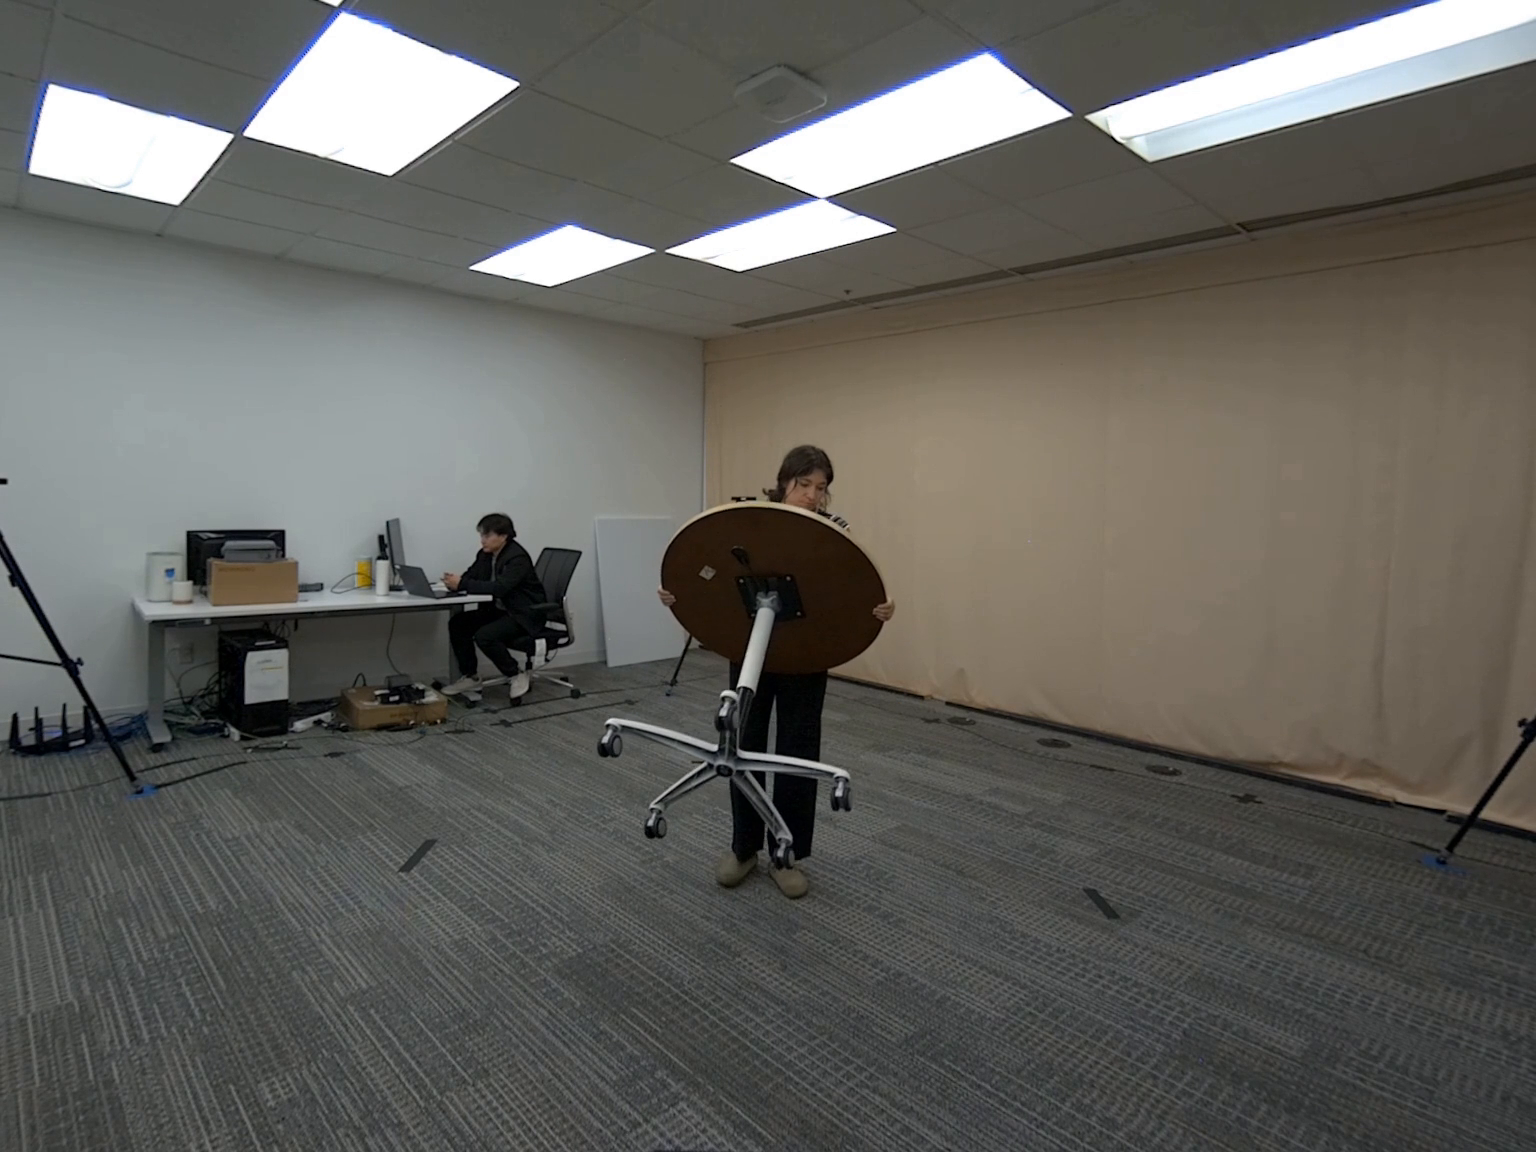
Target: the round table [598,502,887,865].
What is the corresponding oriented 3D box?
[{"bbox_3d":[-0.073,0.332,2.533,0.773,0.744,0.805,2,42,14],"label":"round table"}]
